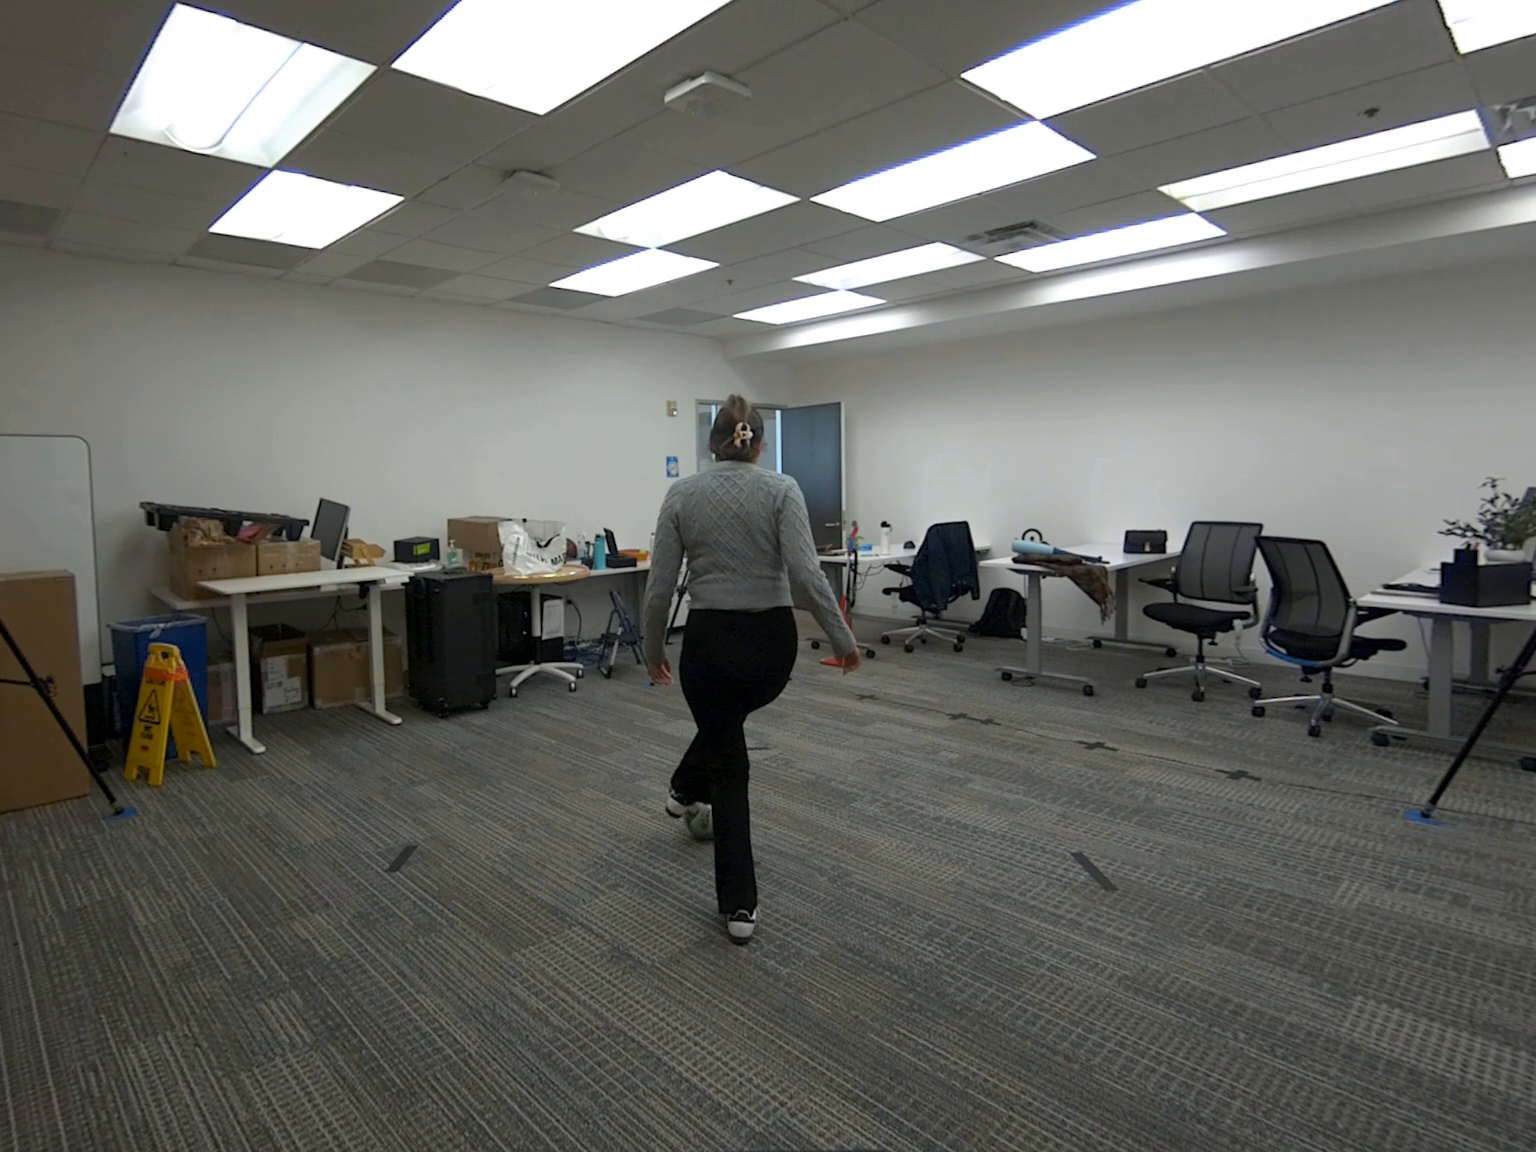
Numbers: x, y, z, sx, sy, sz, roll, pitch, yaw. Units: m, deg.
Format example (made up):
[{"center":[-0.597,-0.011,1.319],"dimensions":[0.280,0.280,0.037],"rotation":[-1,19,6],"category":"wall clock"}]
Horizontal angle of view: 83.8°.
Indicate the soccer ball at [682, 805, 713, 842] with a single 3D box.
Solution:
[{"center":[-0.213,0.927,3.317],"dimensions":[0.187,0.187,0.188],"rotation":[-1,5,-2],"category":"soccer ball"}]
